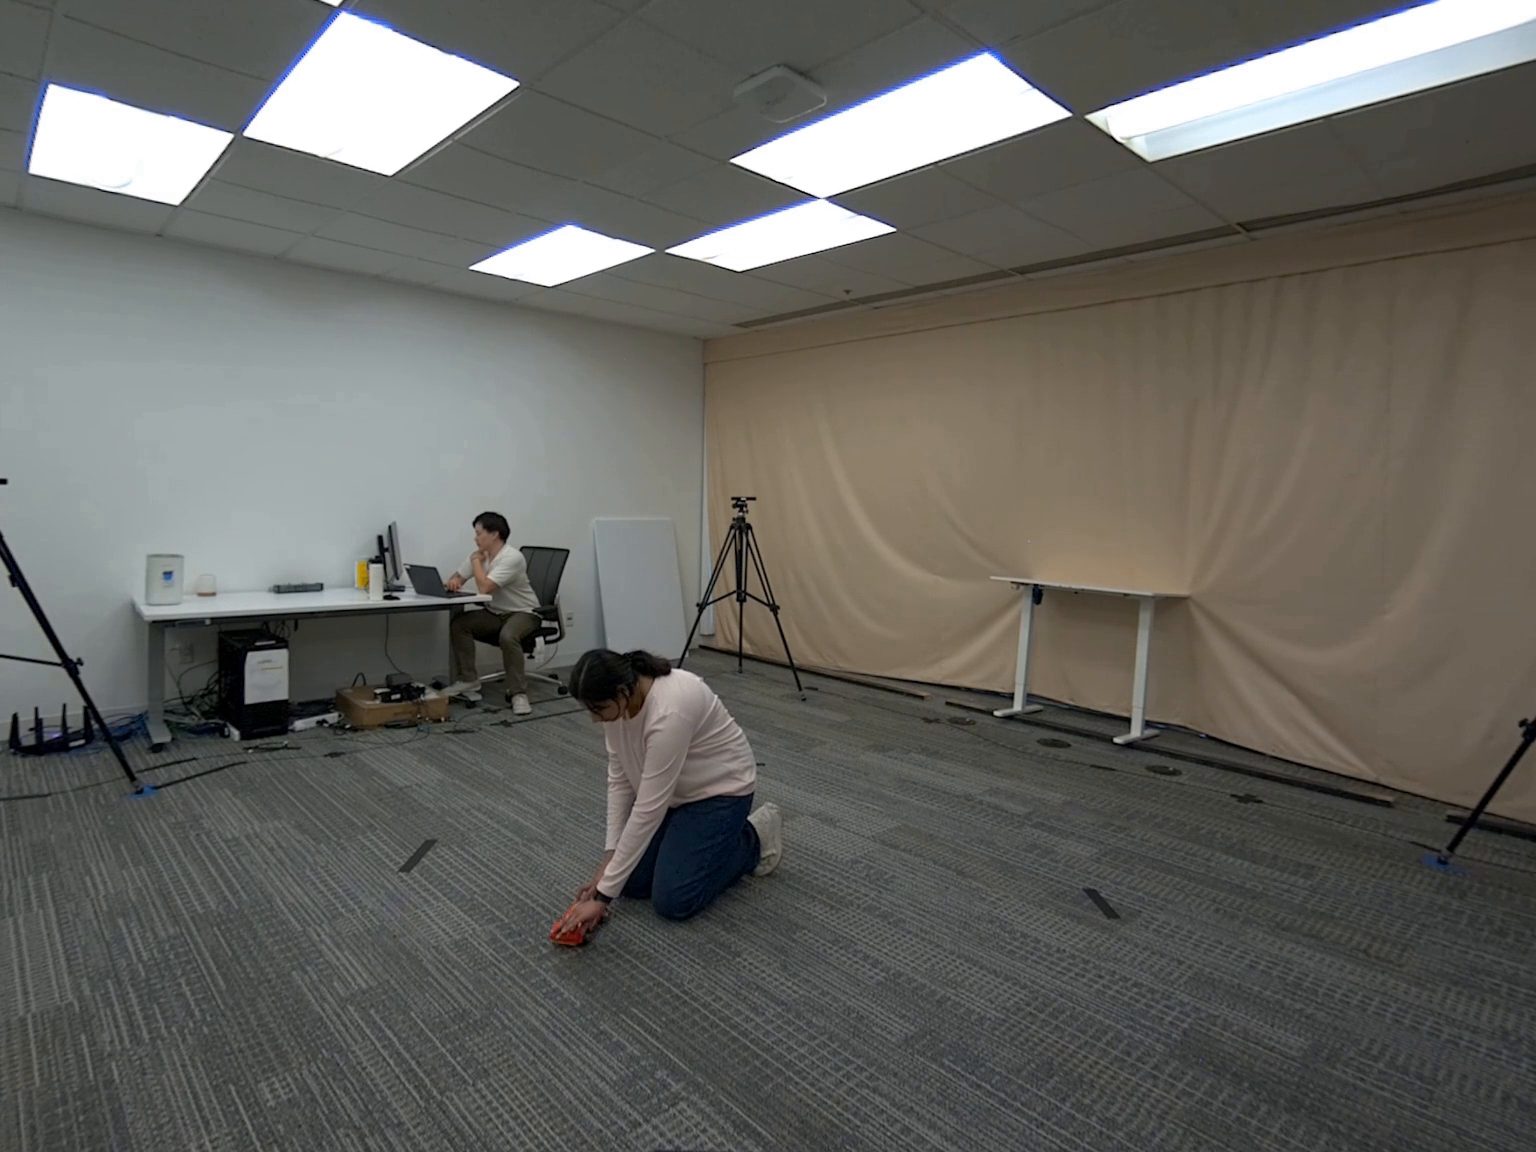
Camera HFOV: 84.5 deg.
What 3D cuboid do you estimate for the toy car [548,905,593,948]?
[{"bbox_3d":[-0.612,1.108,2.661,0.132,0.083,0.250,2,-7,12],"label":"toy car"}]
